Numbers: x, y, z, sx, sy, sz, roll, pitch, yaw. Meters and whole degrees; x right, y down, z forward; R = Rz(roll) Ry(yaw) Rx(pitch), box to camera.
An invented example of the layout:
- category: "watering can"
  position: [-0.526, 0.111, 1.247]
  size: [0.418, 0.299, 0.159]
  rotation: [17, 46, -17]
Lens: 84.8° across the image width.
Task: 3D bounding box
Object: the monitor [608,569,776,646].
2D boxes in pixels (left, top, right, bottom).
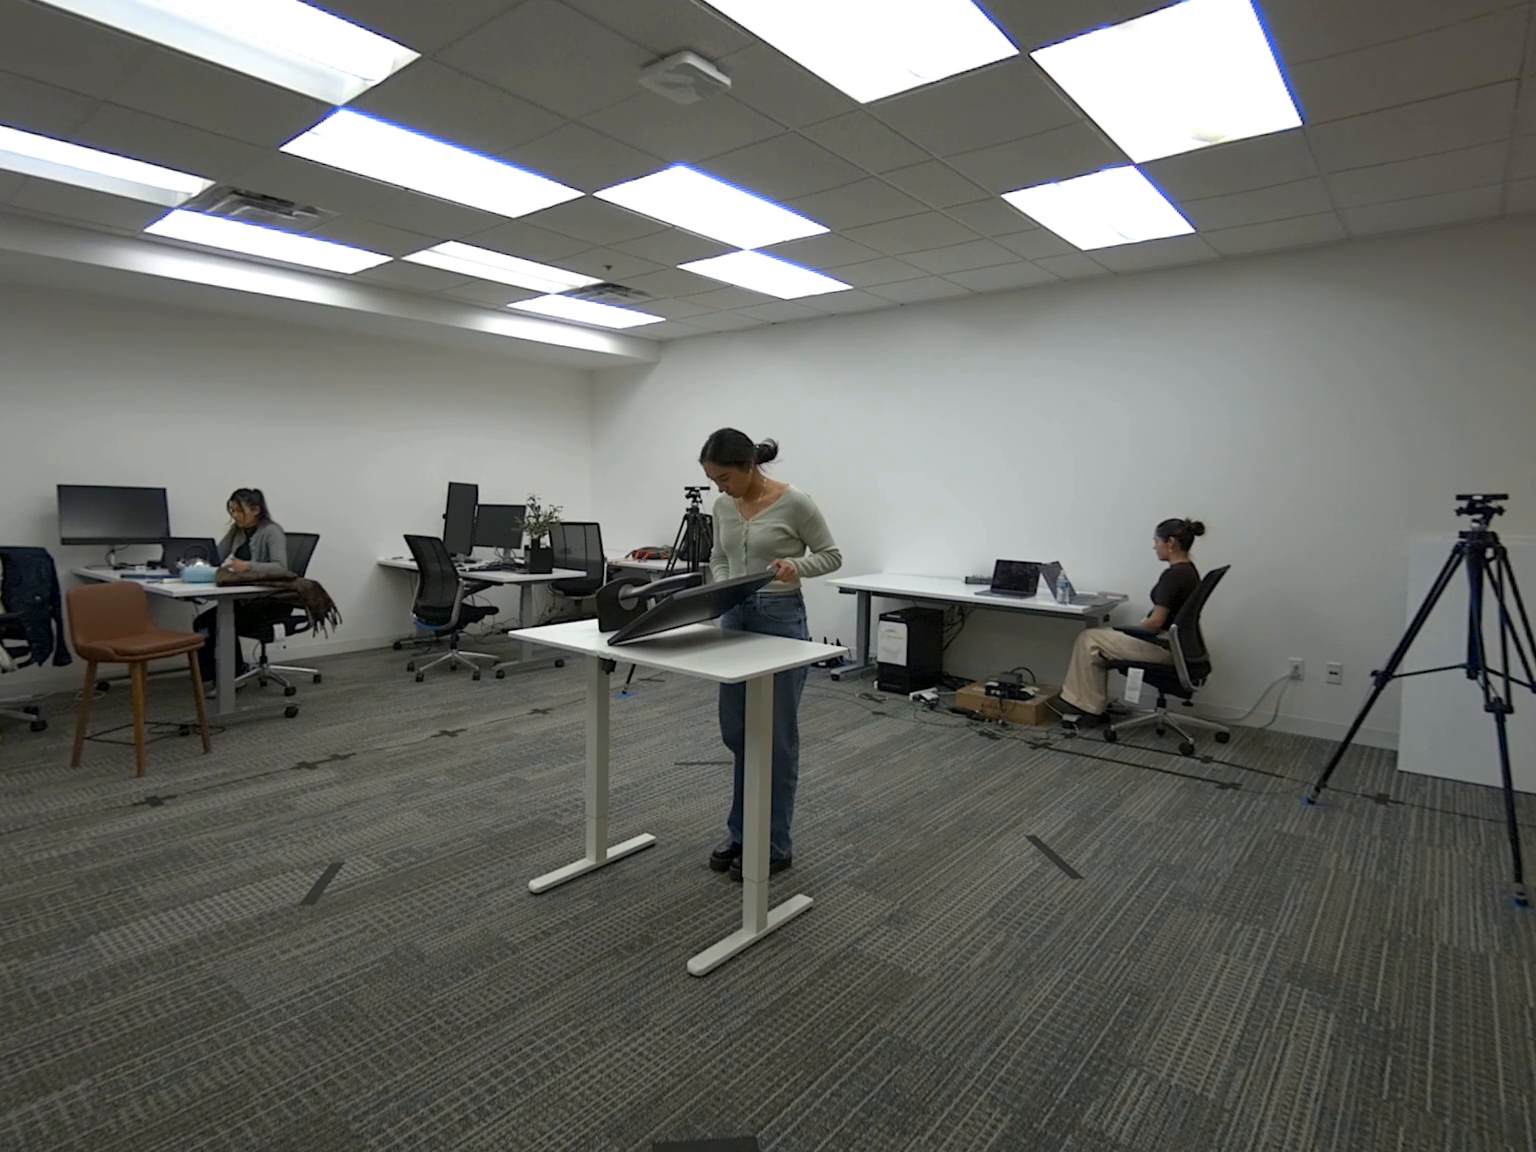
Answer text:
- category: "monitor"
  position: [-0.333, 0.074, 2.863]
  size: [0.537, 0.186, 0.526]
  rotation: [-6, 6, 40]
